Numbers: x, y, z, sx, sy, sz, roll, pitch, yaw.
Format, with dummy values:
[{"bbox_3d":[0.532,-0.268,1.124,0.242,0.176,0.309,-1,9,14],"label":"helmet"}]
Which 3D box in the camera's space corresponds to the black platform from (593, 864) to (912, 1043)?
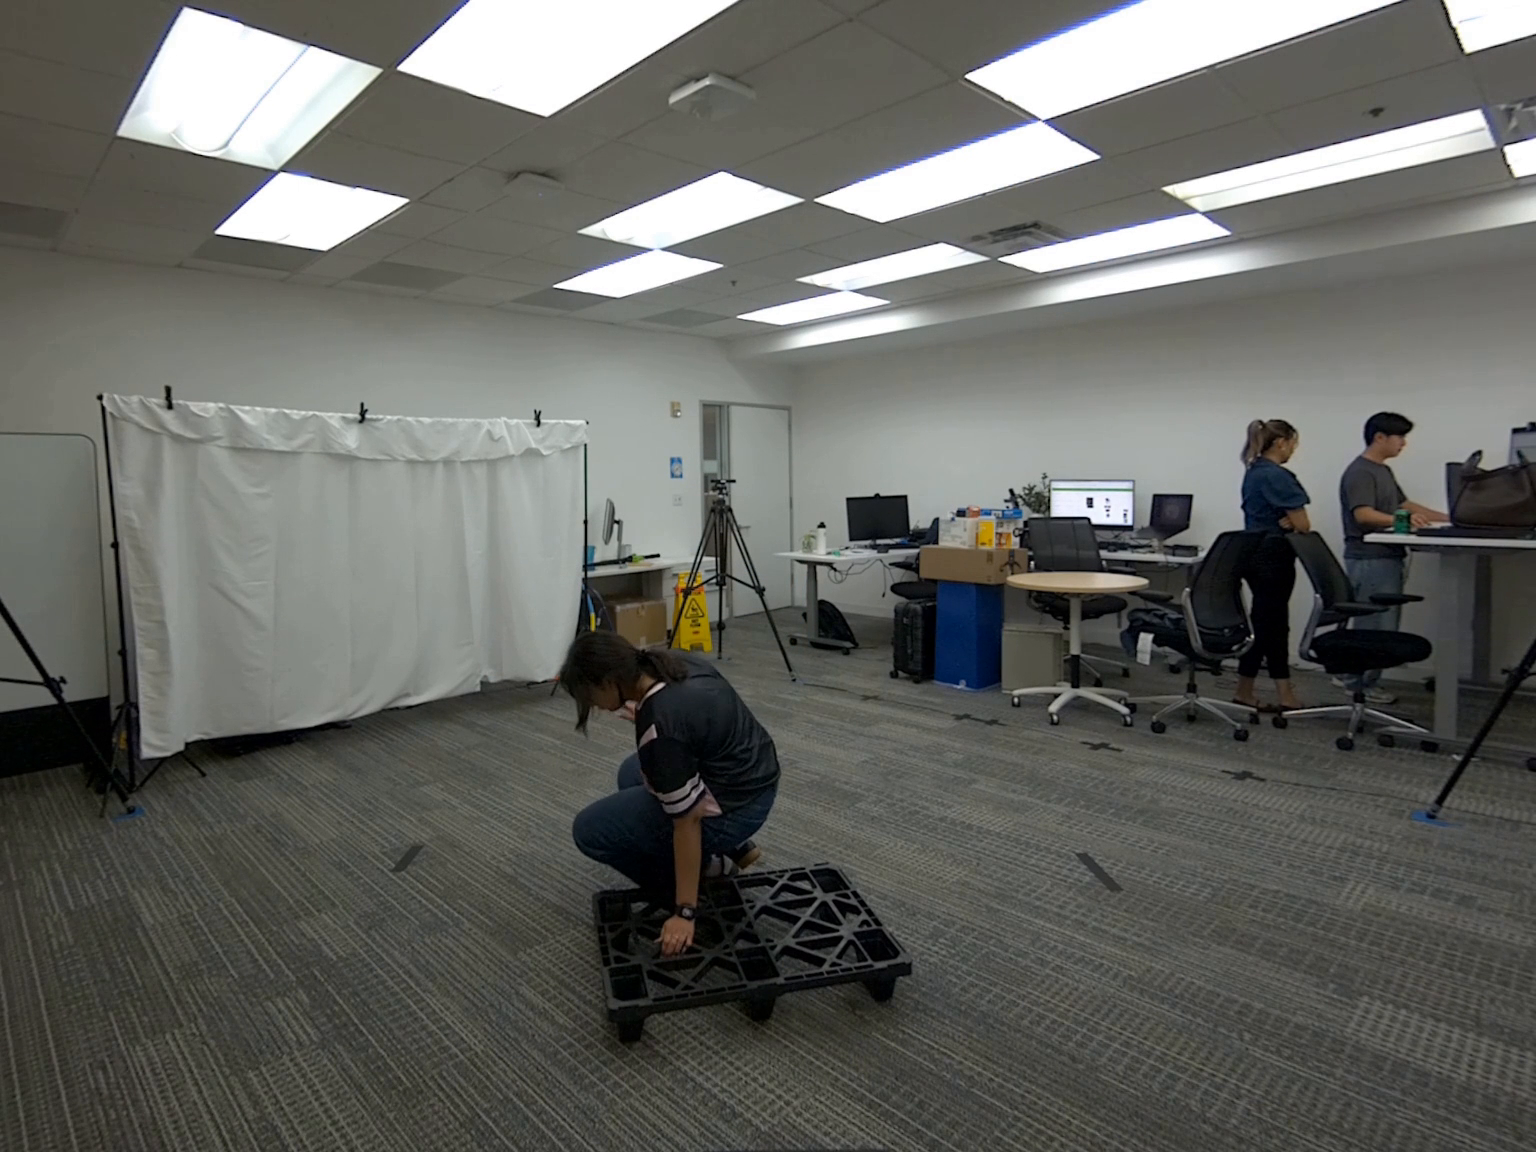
[{"bbox_3d":[-0.081,1.059,2.436,0.796,0.143,0.615,-3,6,-13],"label":"black platform"}]
